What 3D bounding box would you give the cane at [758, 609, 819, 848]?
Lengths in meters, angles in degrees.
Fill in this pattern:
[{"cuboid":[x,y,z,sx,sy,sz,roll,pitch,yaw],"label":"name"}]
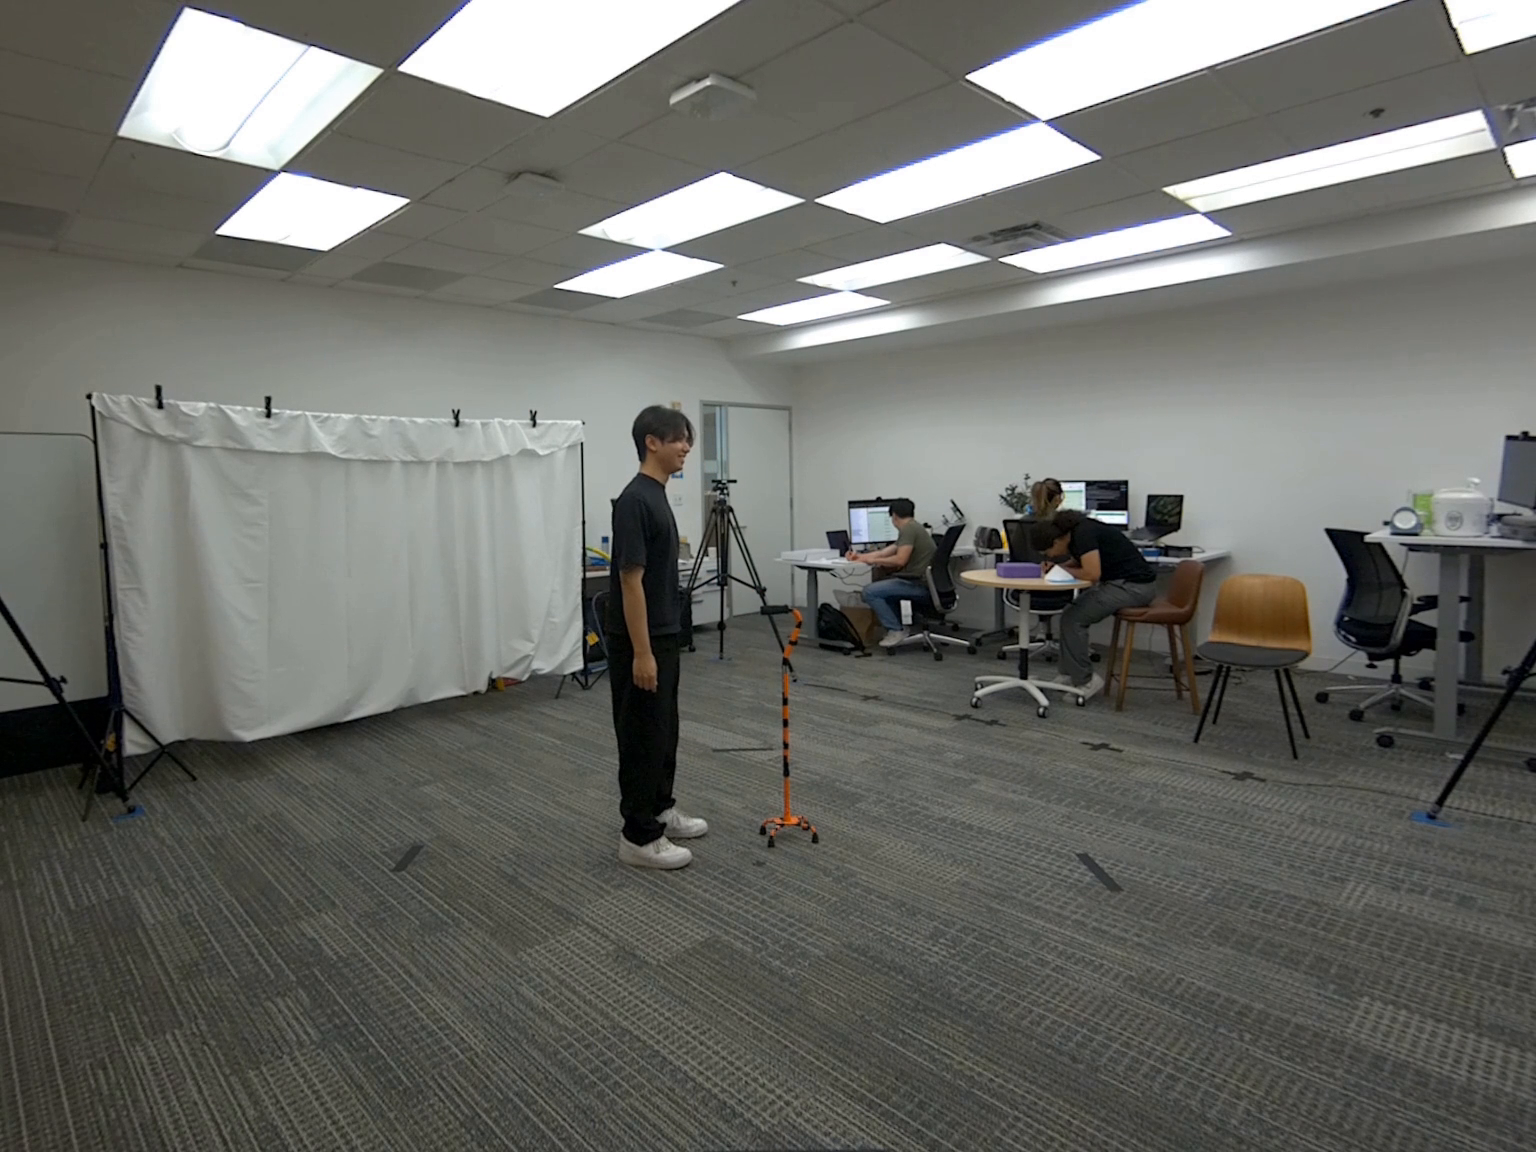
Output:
[{"cuboid":[0.069,0.563,3.308,0.204,0.905,0.154,-2,3,-13],"label":"cane"}]
